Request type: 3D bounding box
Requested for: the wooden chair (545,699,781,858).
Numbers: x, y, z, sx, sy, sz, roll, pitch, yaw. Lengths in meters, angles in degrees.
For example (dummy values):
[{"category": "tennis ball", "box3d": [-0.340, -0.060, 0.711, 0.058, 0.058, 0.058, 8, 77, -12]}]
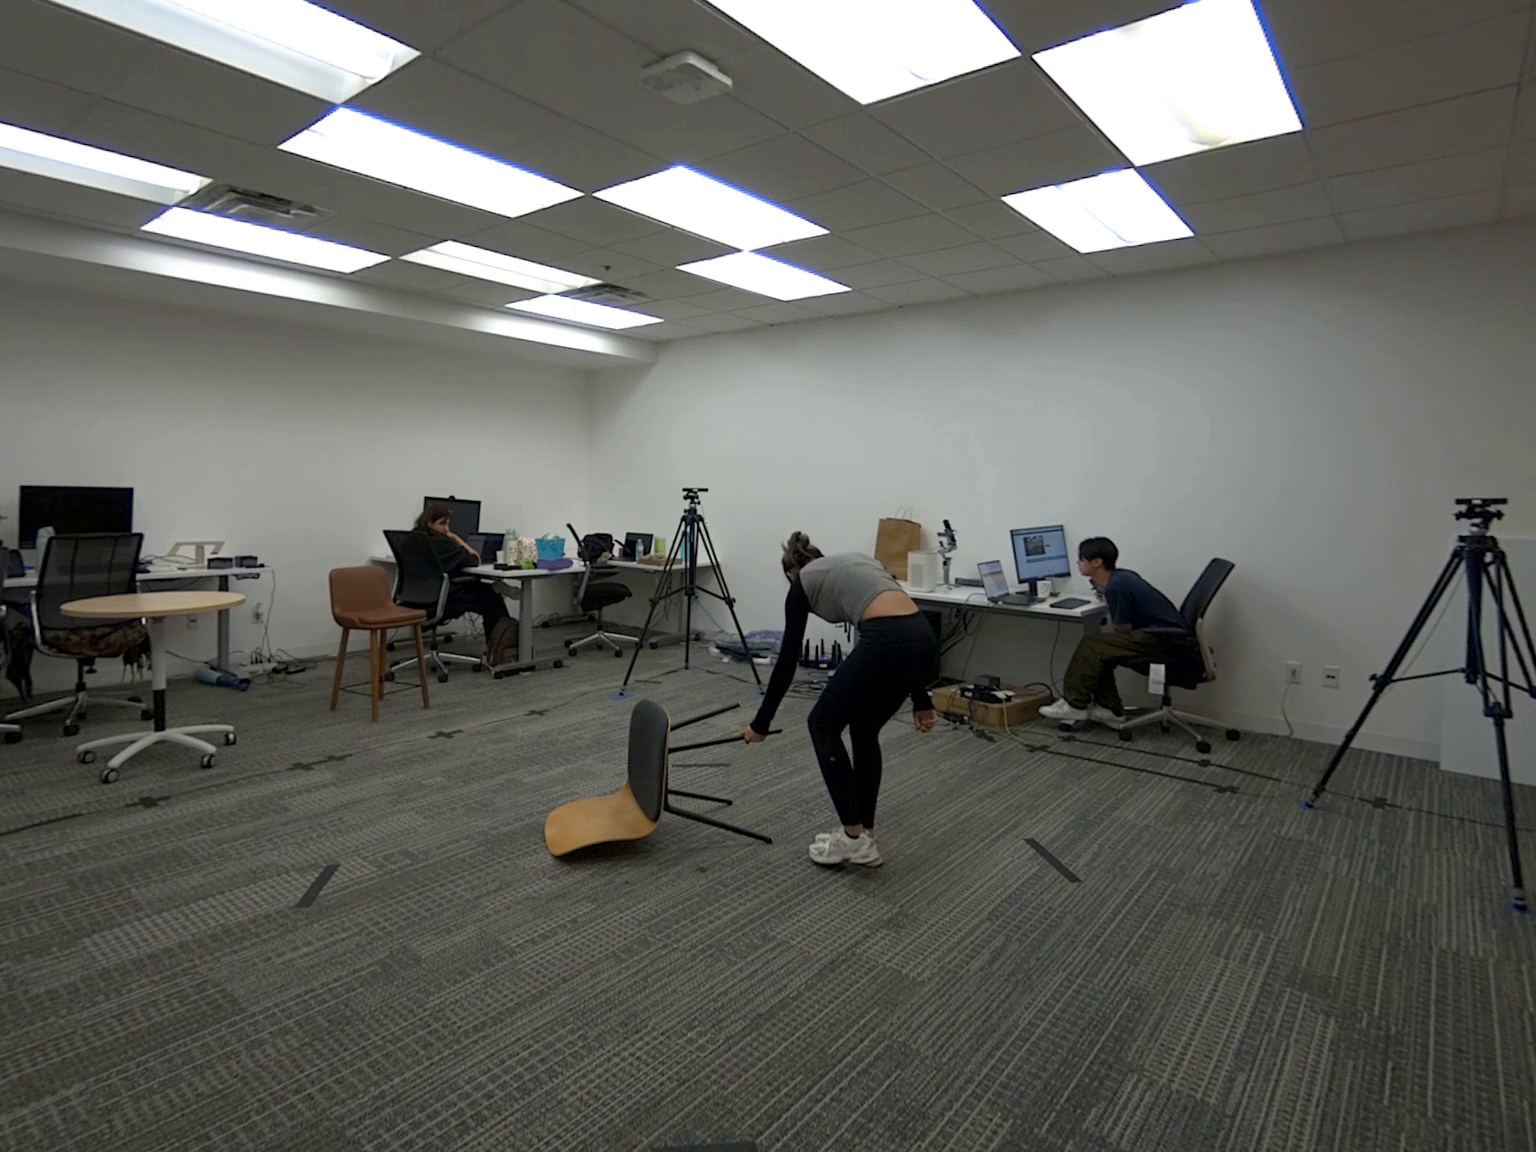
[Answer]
[{"category": "wooden chair", "box3d": [-0.455, 0.776, 3.406, 0.860, 0.521, 0.490, -2, 5, -21]}]
